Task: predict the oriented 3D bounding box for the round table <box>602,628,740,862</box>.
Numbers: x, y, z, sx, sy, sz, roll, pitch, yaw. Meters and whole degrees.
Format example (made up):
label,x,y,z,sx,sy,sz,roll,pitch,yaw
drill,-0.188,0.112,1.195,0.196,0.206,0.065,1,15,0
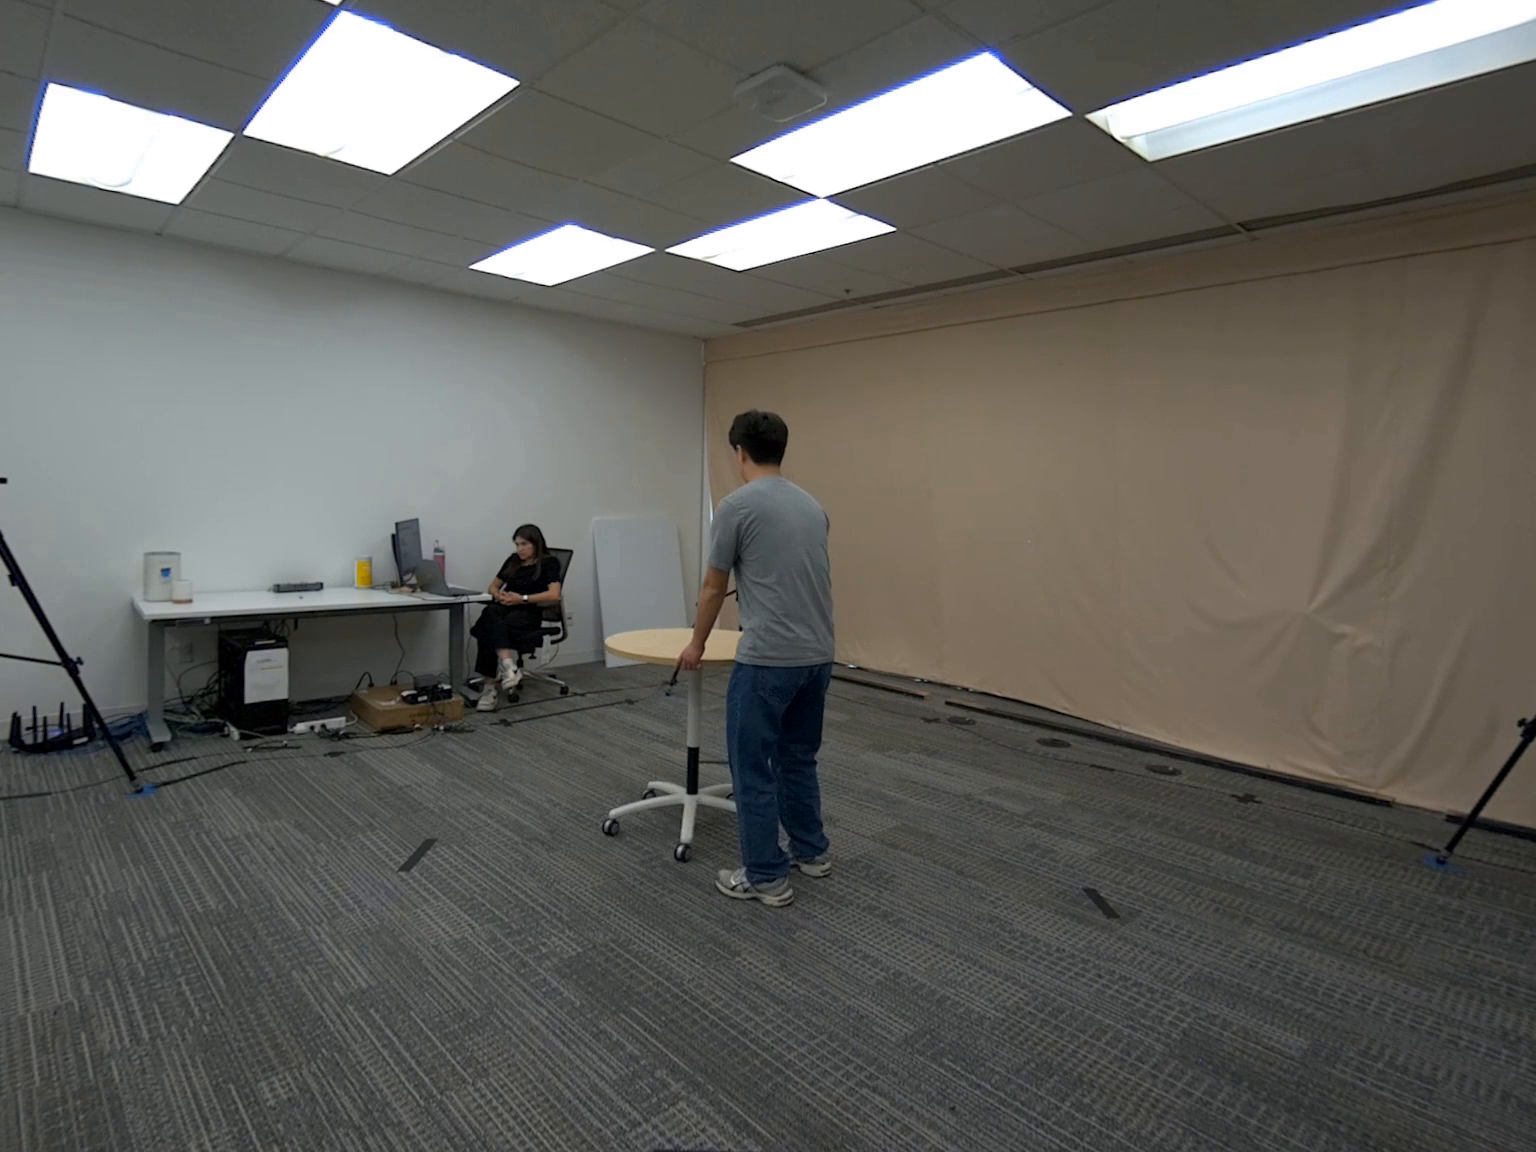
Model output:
label,x,y,z,sx,sy,sz,roll,pitch,yaw
round table,-0.319,0.672,3.547,0.763,0.792,0.766,2,4,-1
